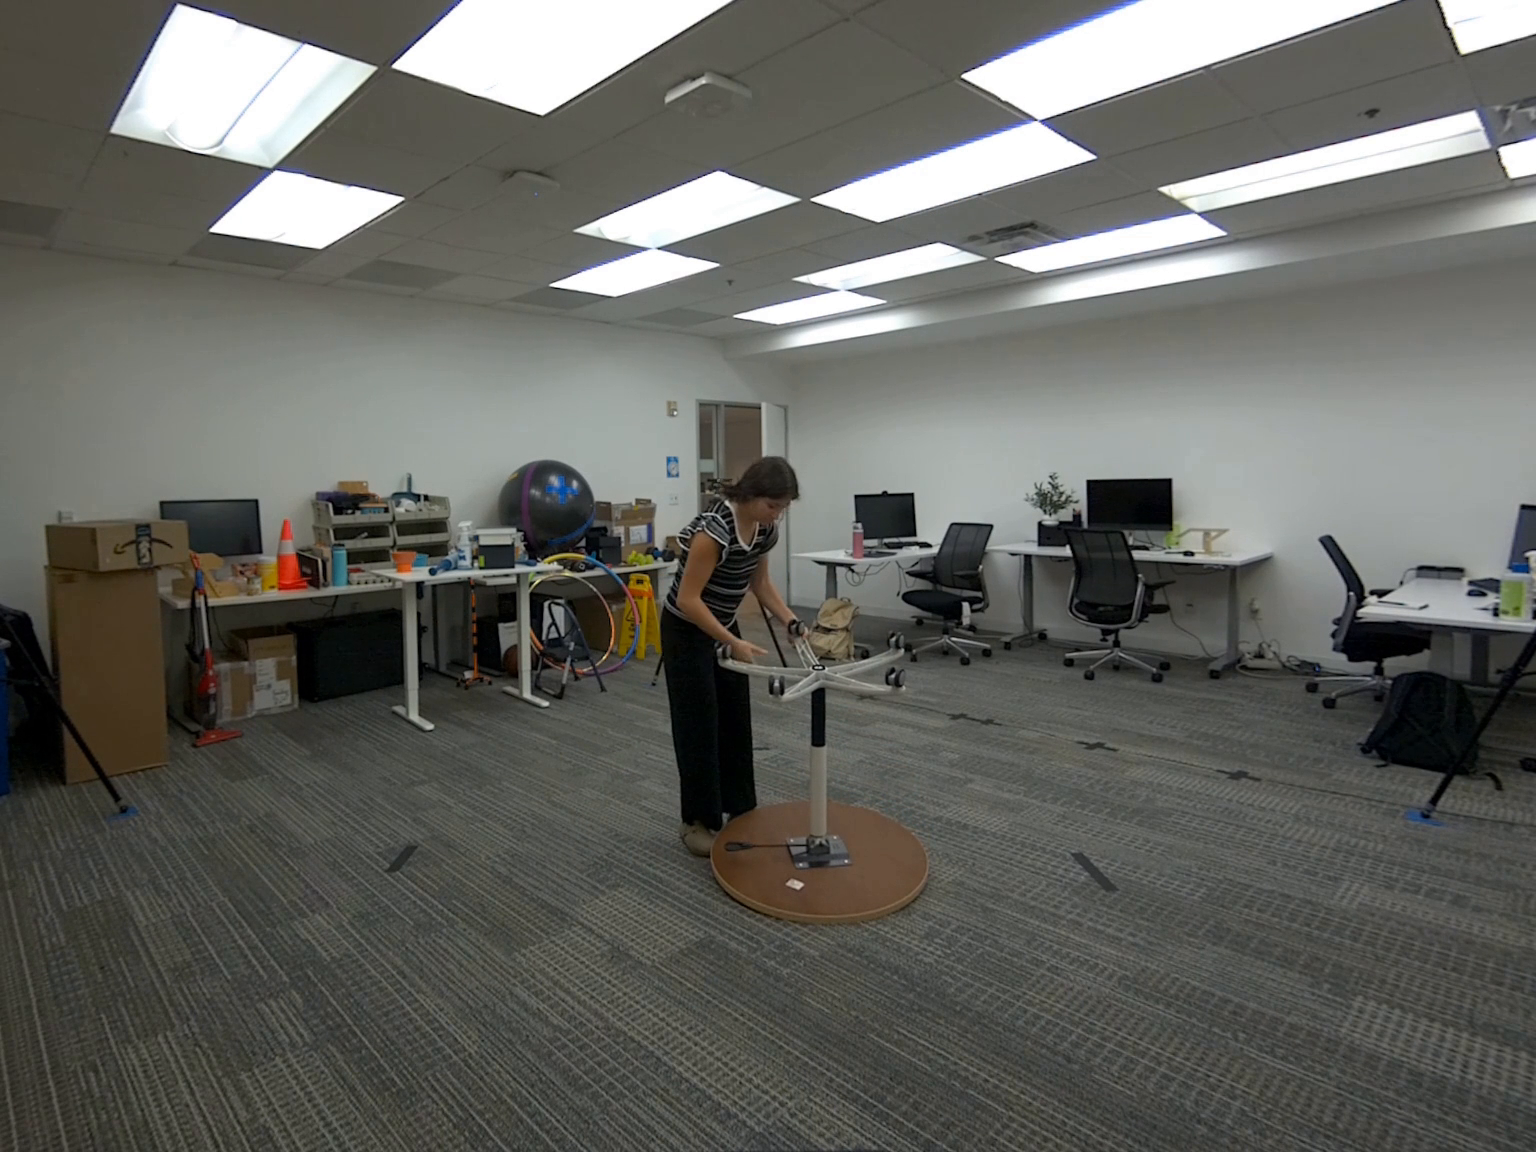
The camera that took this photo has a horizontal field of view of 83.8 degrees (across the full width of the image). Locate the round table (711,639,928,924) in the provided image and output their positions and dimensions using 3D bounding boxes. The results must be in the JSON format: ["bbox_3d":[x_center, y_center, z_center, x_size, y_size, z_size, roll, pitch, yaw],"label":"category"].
[{"bbox_3d":[0.186,0.627,2.987,0.763,0.787,0.772,0,11,-2],"label":"round table"}]
